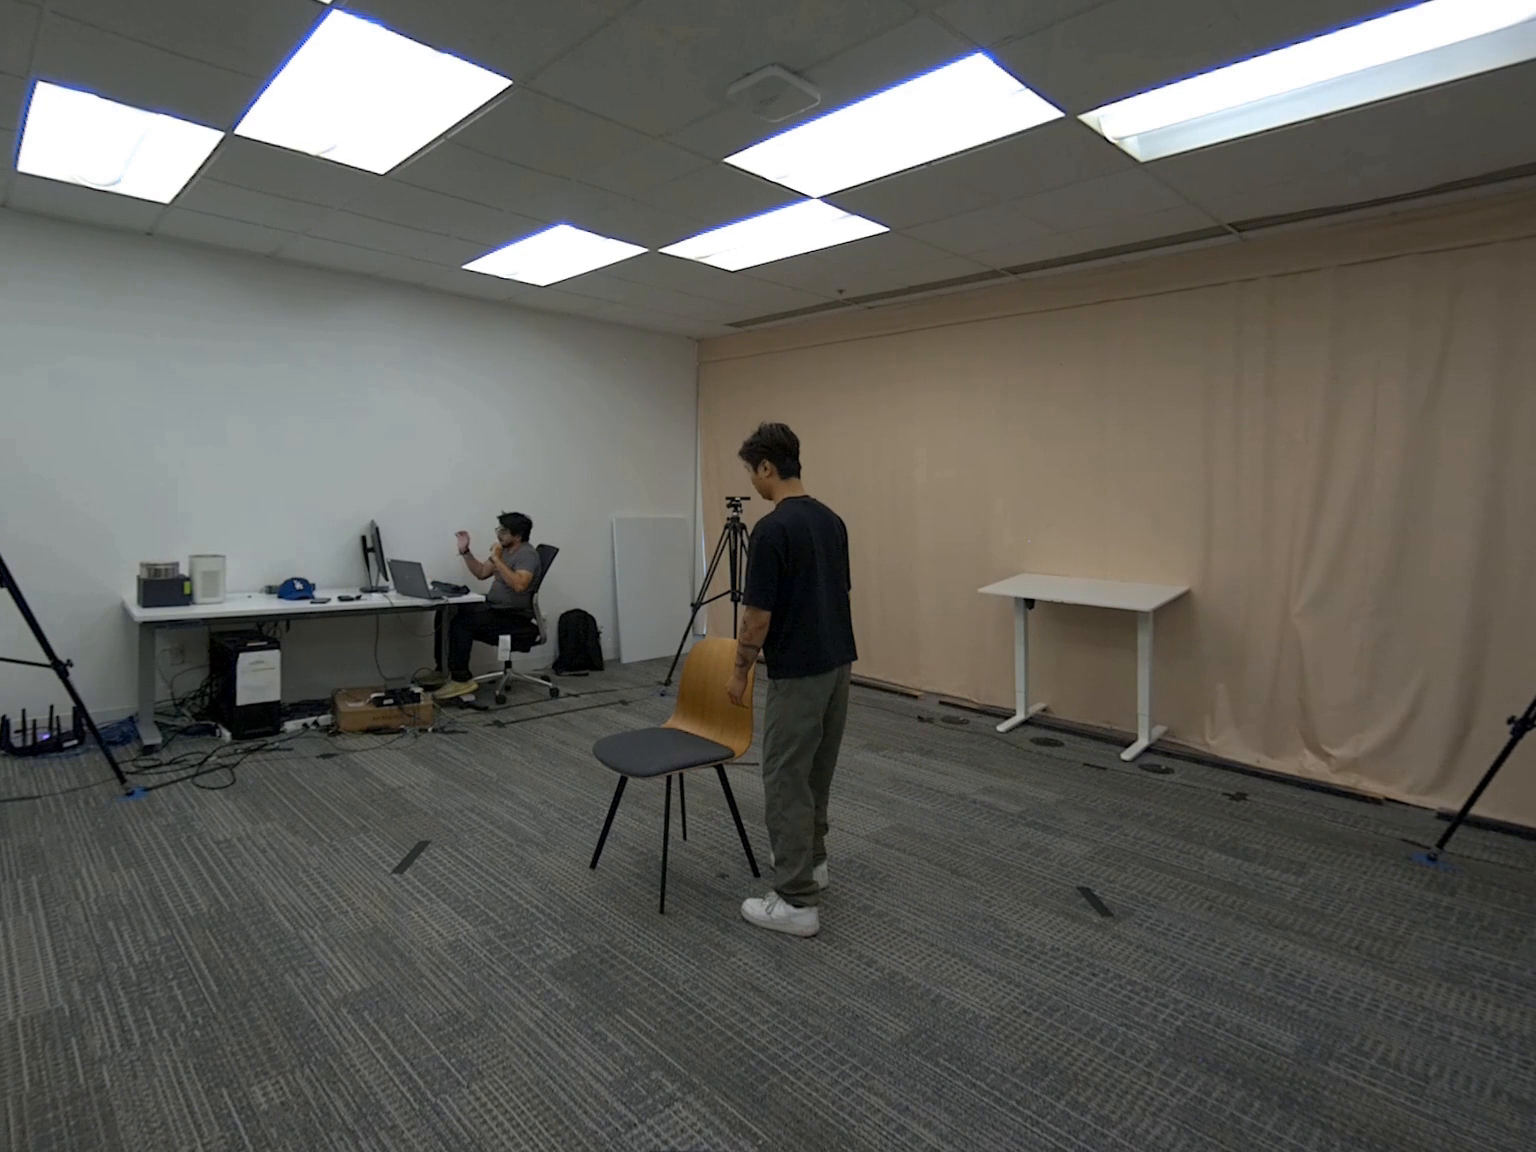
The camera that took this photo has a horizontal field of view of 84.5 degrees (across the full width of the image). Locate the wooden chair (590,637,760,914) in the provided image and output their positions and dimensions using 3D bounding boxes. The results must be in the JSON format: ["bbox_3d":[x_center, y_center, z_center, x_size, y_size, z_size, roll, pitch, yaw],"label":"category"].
[{"bbox_3d":[-0.350,0.677,3.090,0.510,0.877,0.490,4,1,-43],"label":"wooden chair"}]
